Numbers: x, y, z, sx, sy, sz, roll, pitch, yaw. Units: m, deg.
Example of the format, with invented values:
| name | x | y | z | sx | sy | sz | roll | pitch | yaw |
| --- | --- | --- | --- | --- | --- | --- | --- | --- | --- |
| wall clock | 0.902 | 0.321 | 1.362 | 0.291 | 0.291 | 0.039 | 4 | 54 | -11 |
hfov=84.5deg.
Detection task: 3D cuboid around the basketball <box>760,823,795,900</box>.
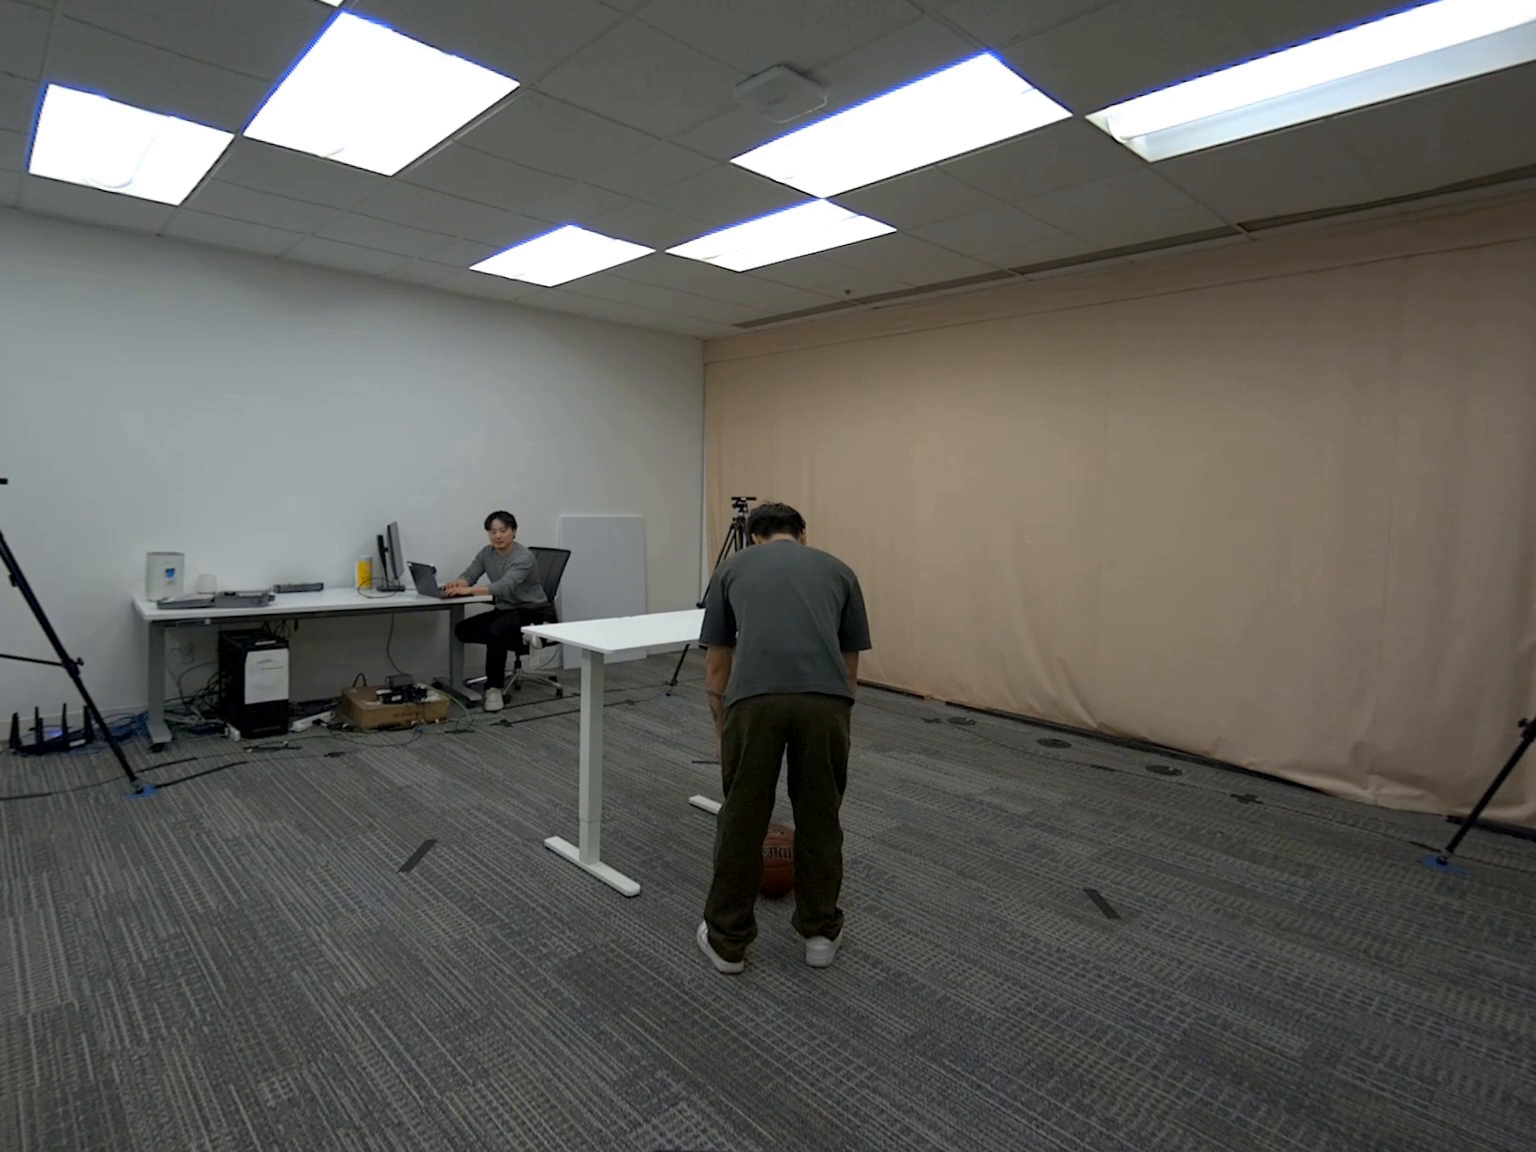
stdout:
| name | x | y | z | sx | sy | sz | roll | pitch | yaw |
| --- | --- | --- | --- | --- | --- | --- | --- | --- | --- |
| basketball | 0.016 | 1.004 | 2.971 | 0.236 | 0.235 | 0.237 | 1 | 4 | -1 |
